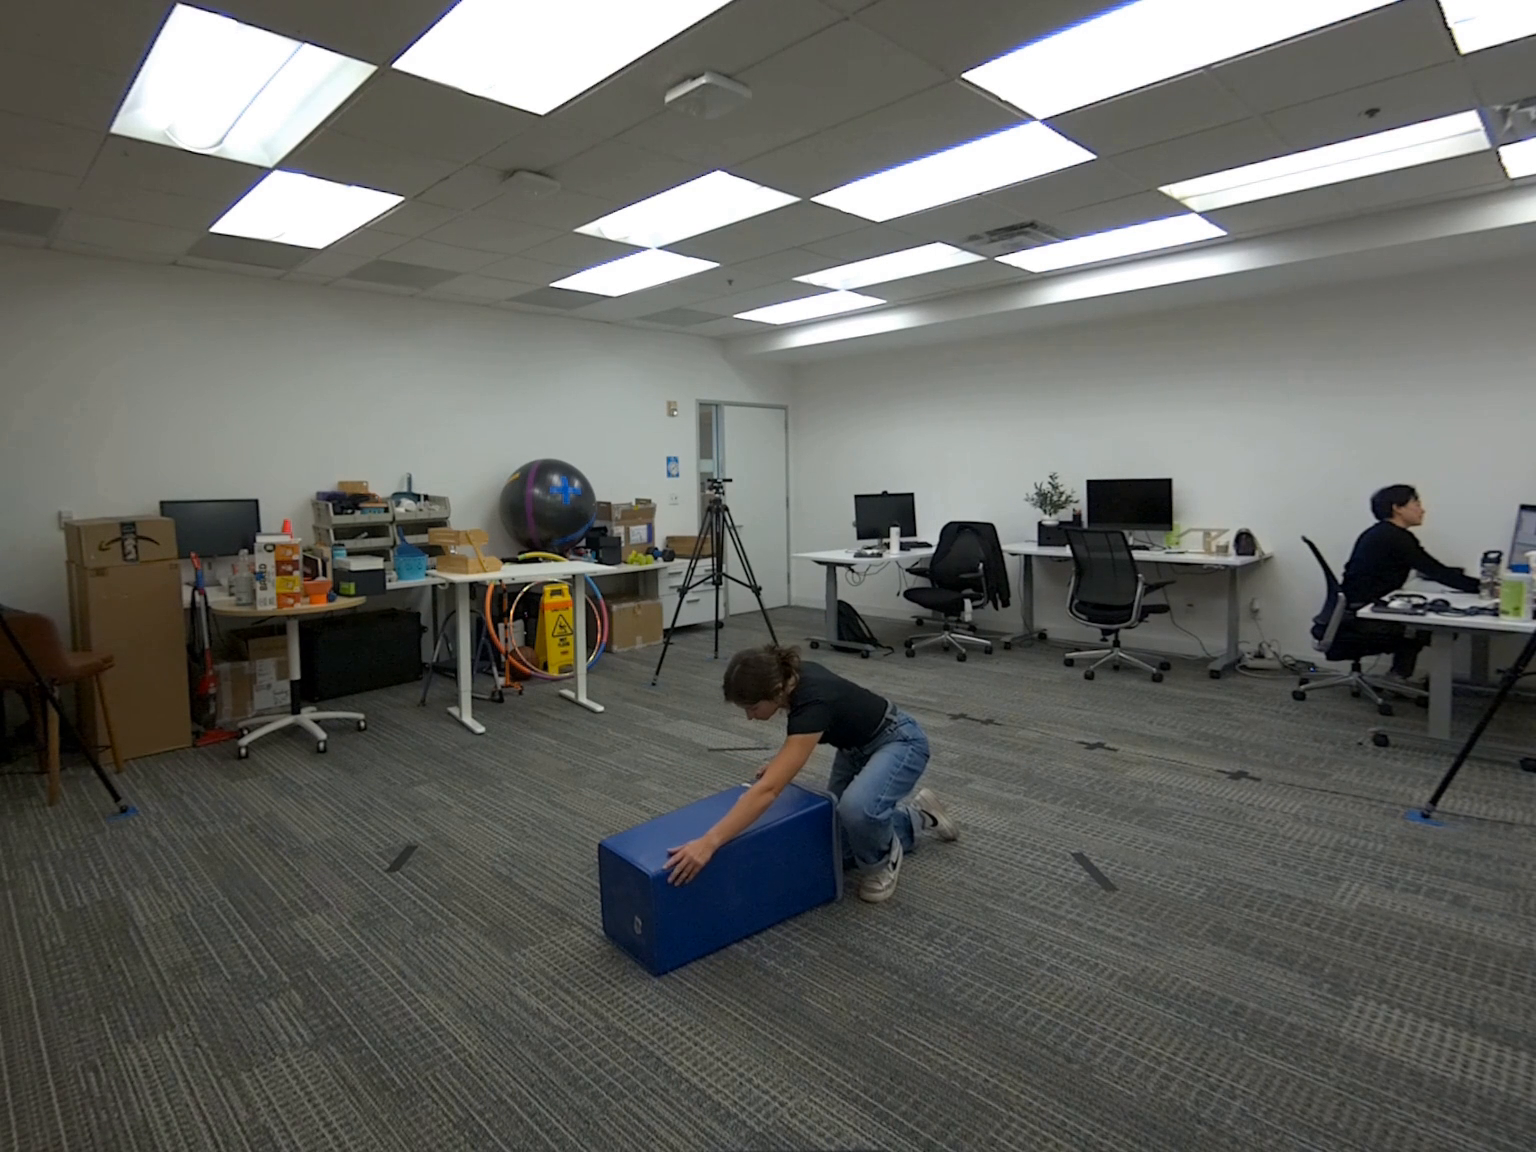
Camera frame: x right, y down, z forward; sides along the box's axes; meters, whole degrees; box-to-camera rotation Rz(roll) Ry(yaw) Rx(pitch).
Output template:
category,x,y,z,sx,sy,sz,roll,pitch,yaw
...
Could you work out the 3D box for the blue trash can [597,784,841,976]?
category,x,y,z,sx,sy,sz,roll,pitch,yaw
blue trash can,-0.142,0.931,2.712,0.696,0.375,0.386,-10,10,-39
